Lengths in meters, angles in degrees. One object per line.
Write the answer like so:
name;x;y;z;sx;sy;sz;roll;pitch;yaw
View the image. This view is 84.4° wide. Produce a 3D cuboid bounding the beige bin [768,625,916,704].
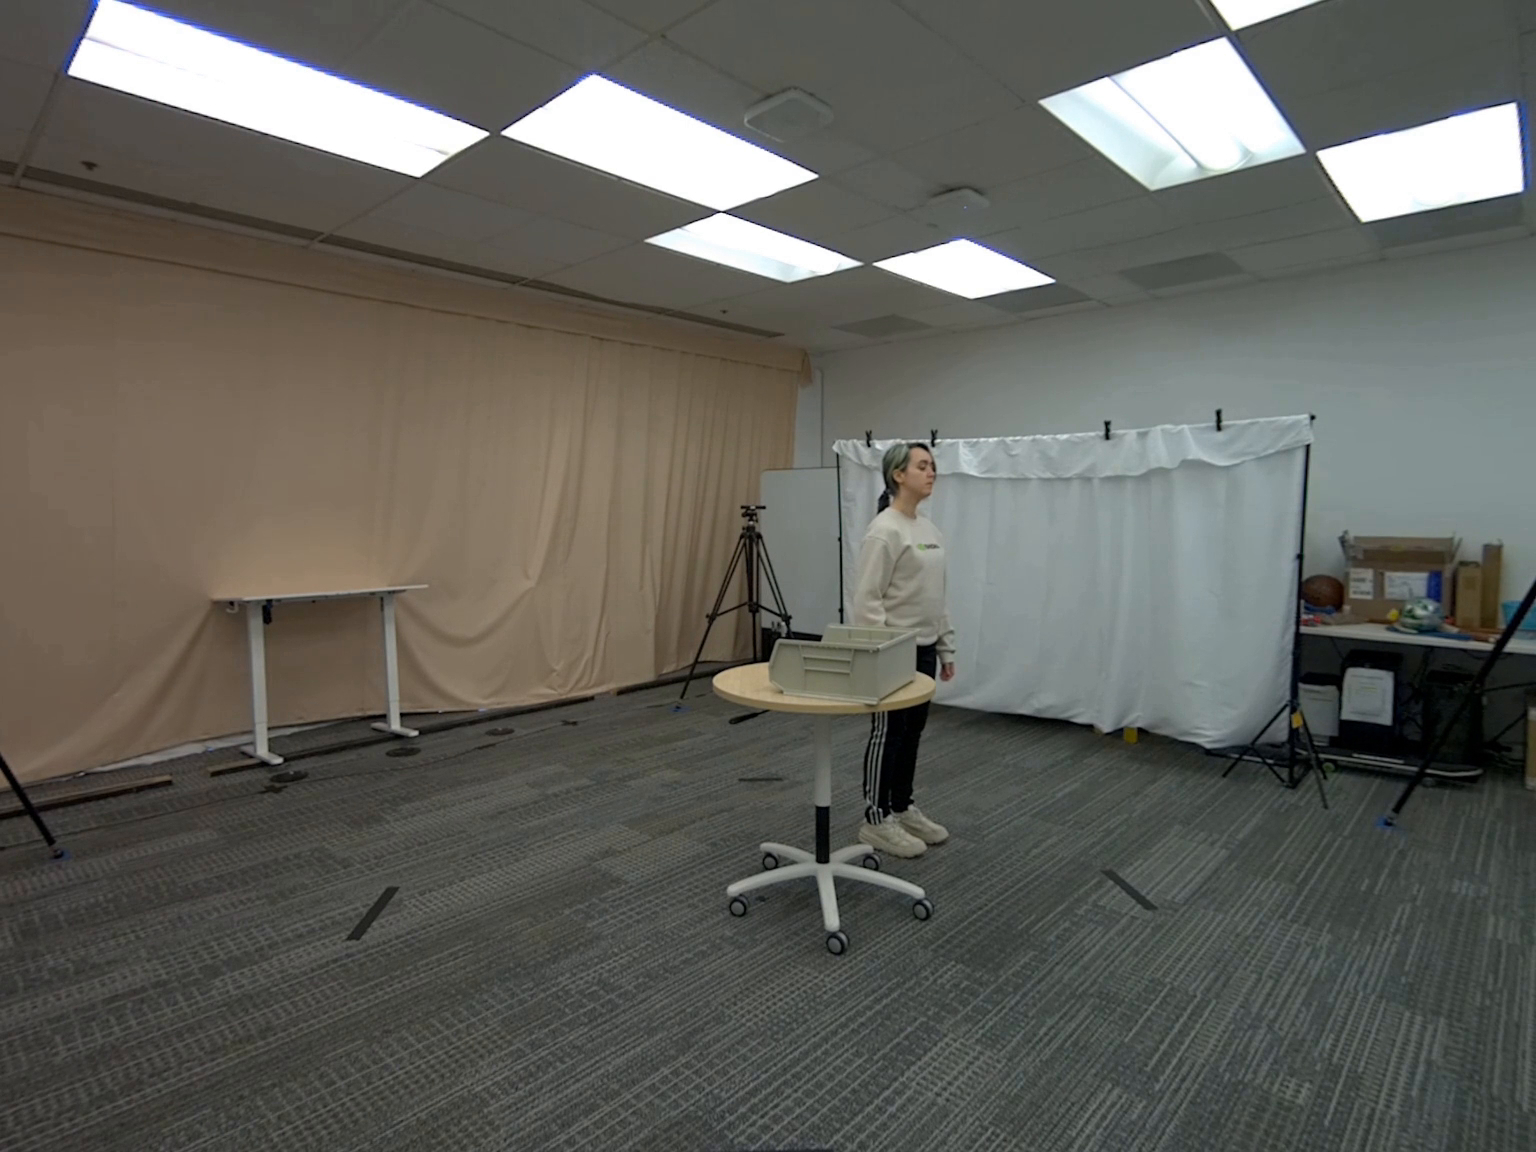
beige bin;0.263;0.283;2.802;0.388;0.188;0.411;3;5;28
